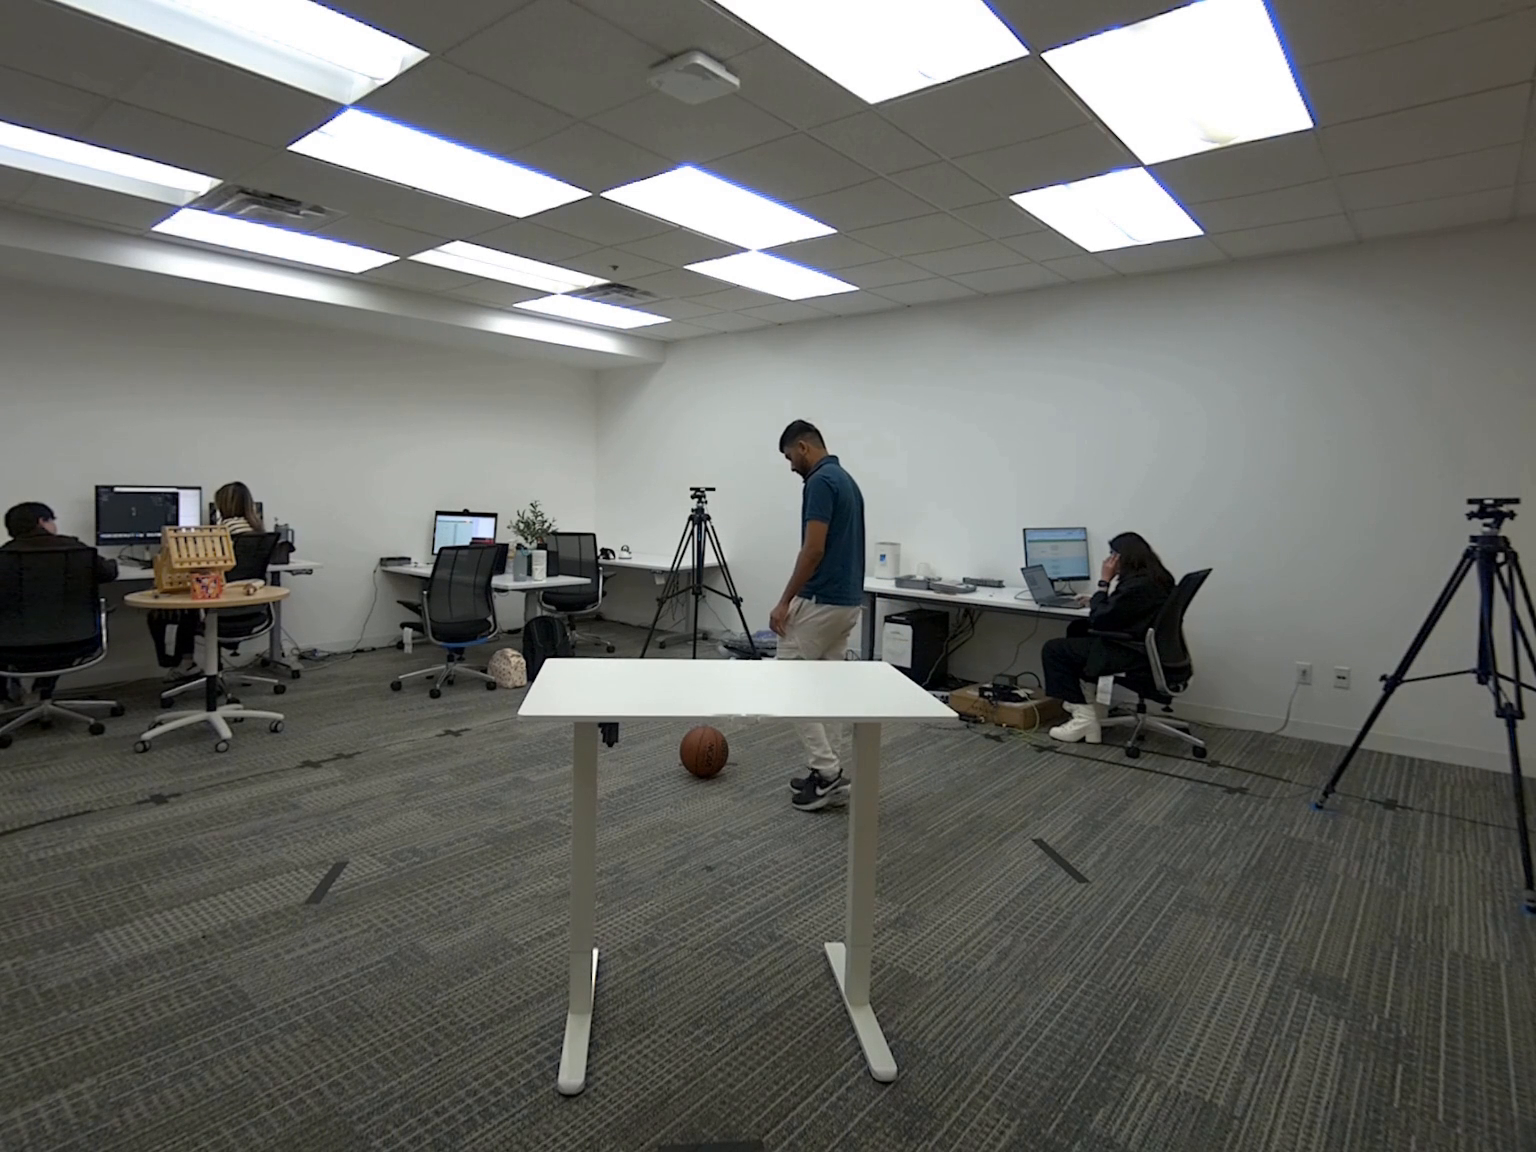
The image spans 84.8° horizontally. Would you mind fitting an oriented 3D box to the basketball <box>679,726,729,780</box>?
[{"bbox_3d":[-0.321,0.845,4.129,0.235,0.235,0.237,1,4,-2],"label":"basketball"}]
